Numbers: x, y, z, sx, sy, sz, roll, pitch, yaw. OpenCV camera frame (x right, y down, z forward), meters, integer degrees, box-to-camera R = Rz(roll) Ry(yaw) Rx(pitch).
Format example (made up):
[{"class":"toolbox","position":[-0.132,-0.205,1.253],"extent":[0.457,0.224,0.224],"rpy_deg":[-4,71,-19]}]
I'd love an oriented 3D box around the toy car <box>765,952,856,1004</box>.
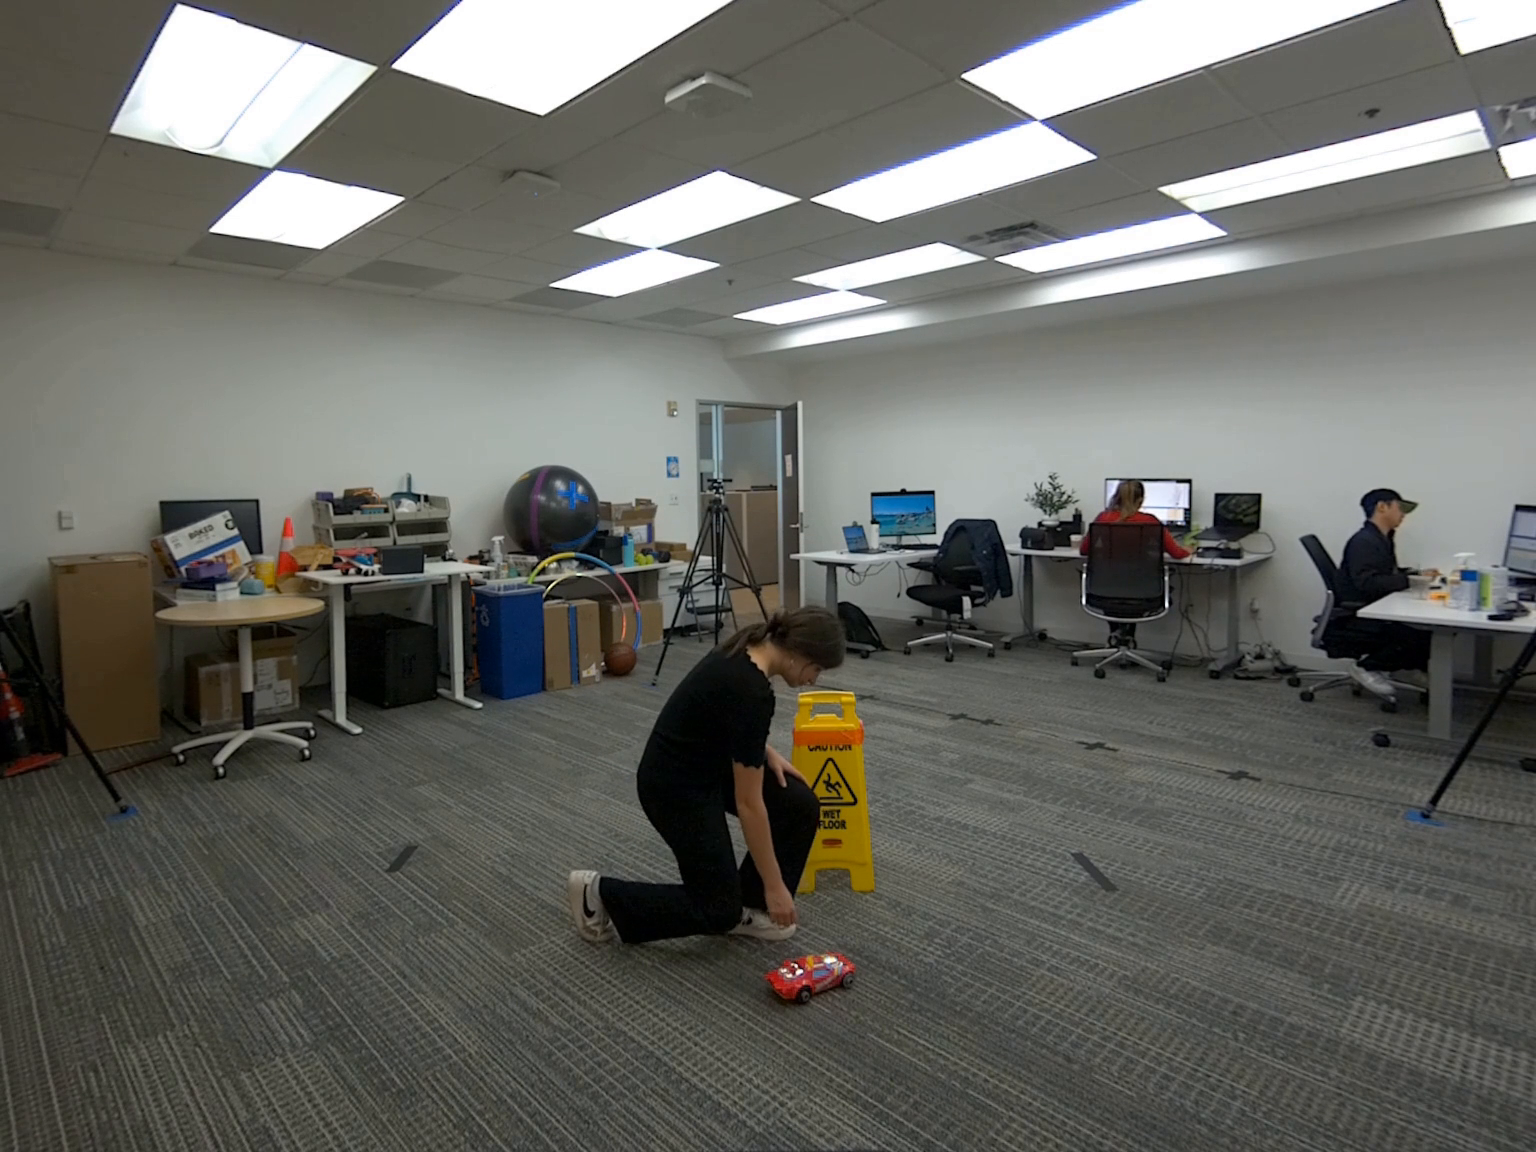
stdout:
[{"class":"toy car","position":[0.112,1.103,2.339],"extent":[0.248,0.083,0.134],"rpy_deg":[8,1,-27]}]
